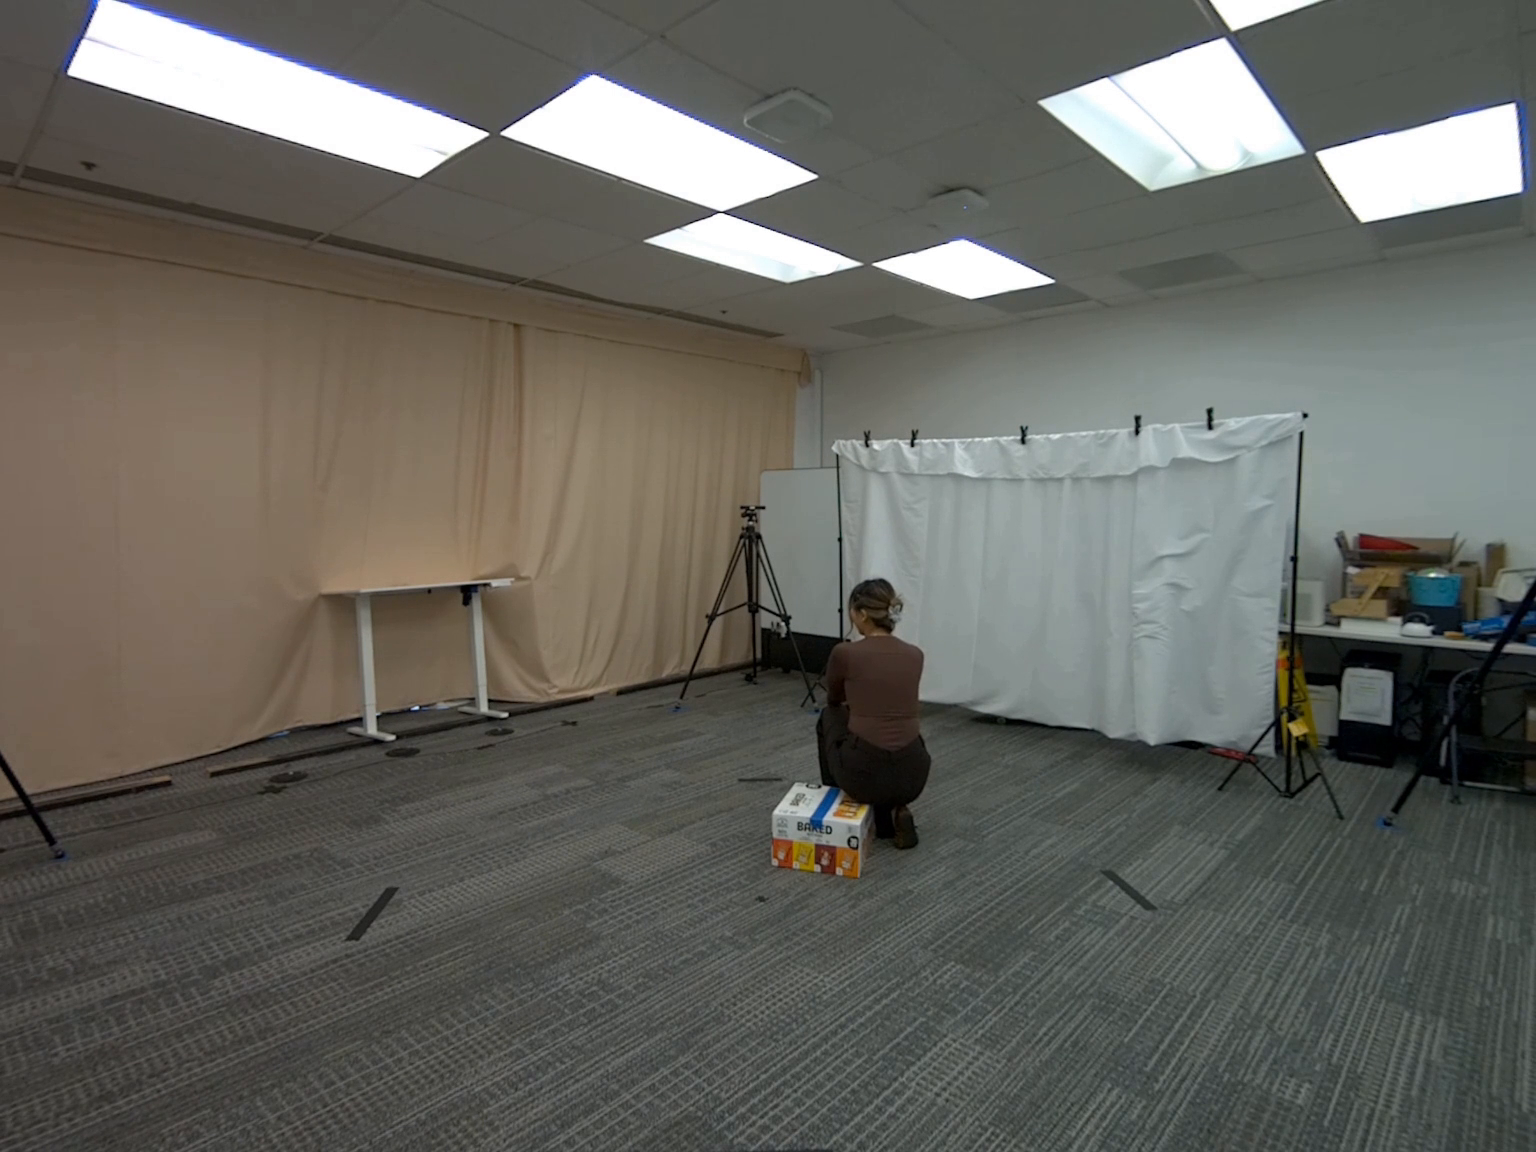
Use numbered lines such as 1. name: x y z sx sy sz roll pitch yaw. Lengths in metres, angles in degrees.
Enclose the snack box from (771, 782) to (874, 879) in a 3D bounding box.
1. snack box: 0.232 1.010 3.383 0.347 0.205 0.398 2 4 17
